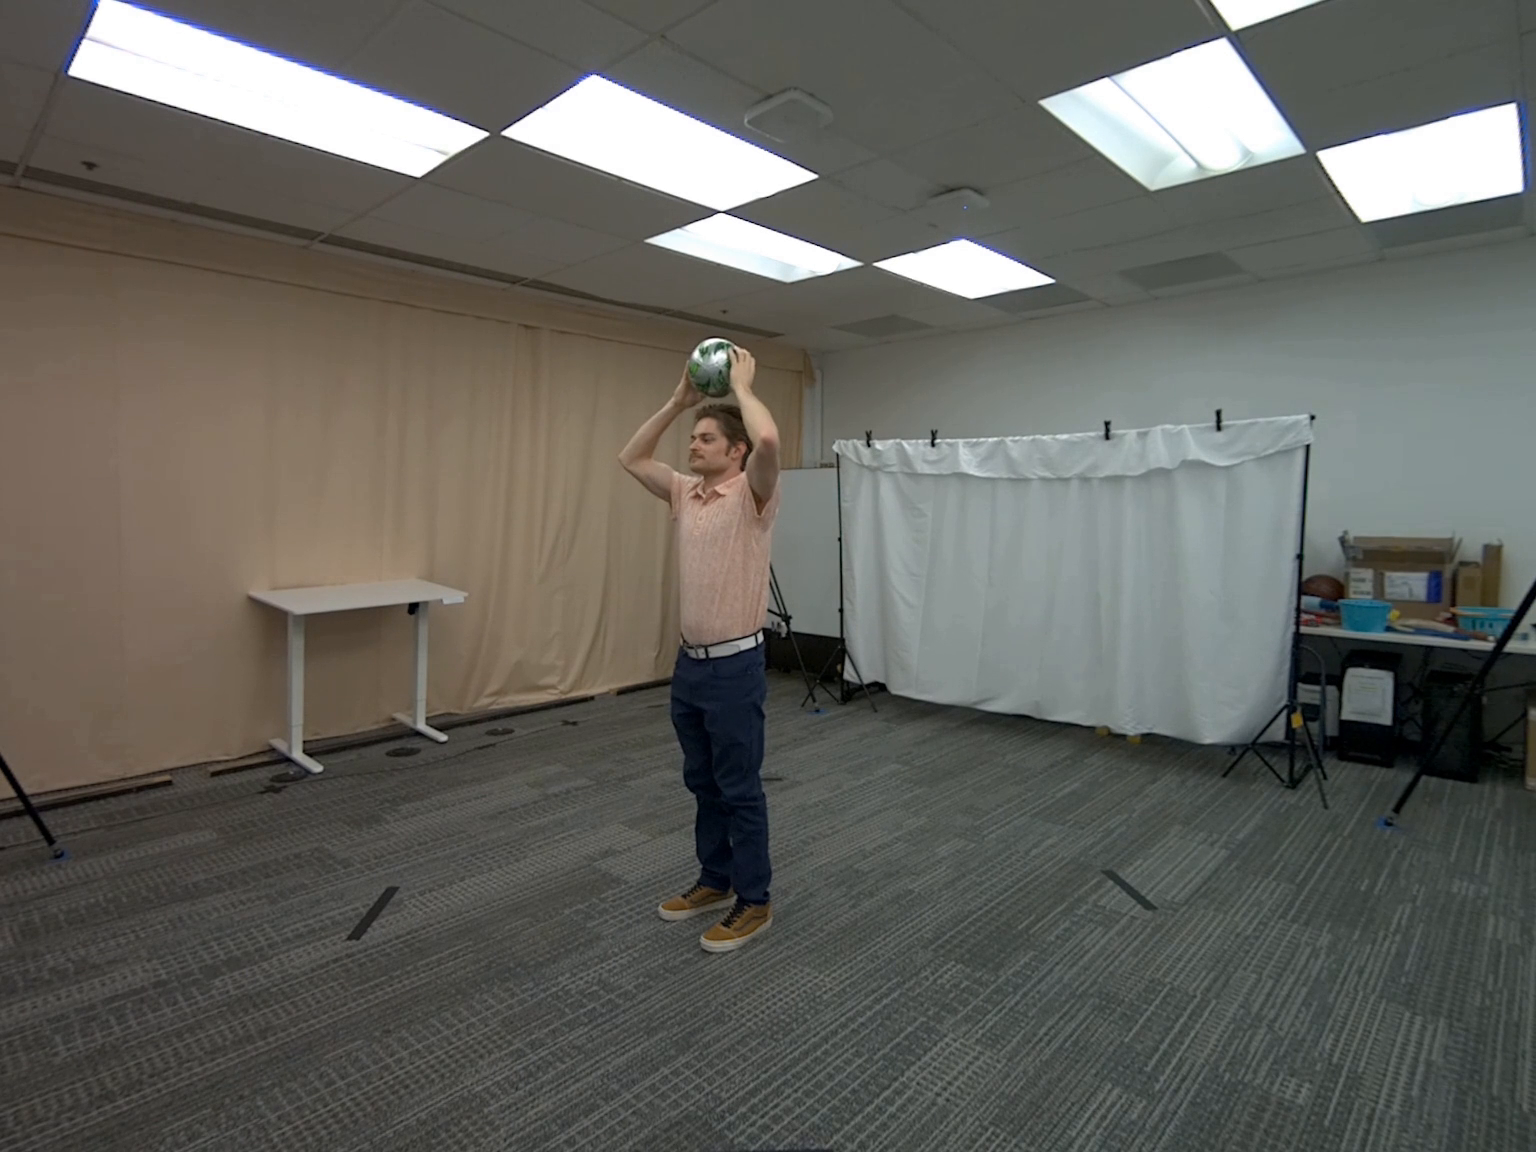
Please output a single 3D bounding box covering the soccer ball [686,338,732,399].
[{"bbox_3d":[-0.159,-0.663,2.724,0.187,0.187,0.188,0,4,-2],"label":"soccer ball"}]
